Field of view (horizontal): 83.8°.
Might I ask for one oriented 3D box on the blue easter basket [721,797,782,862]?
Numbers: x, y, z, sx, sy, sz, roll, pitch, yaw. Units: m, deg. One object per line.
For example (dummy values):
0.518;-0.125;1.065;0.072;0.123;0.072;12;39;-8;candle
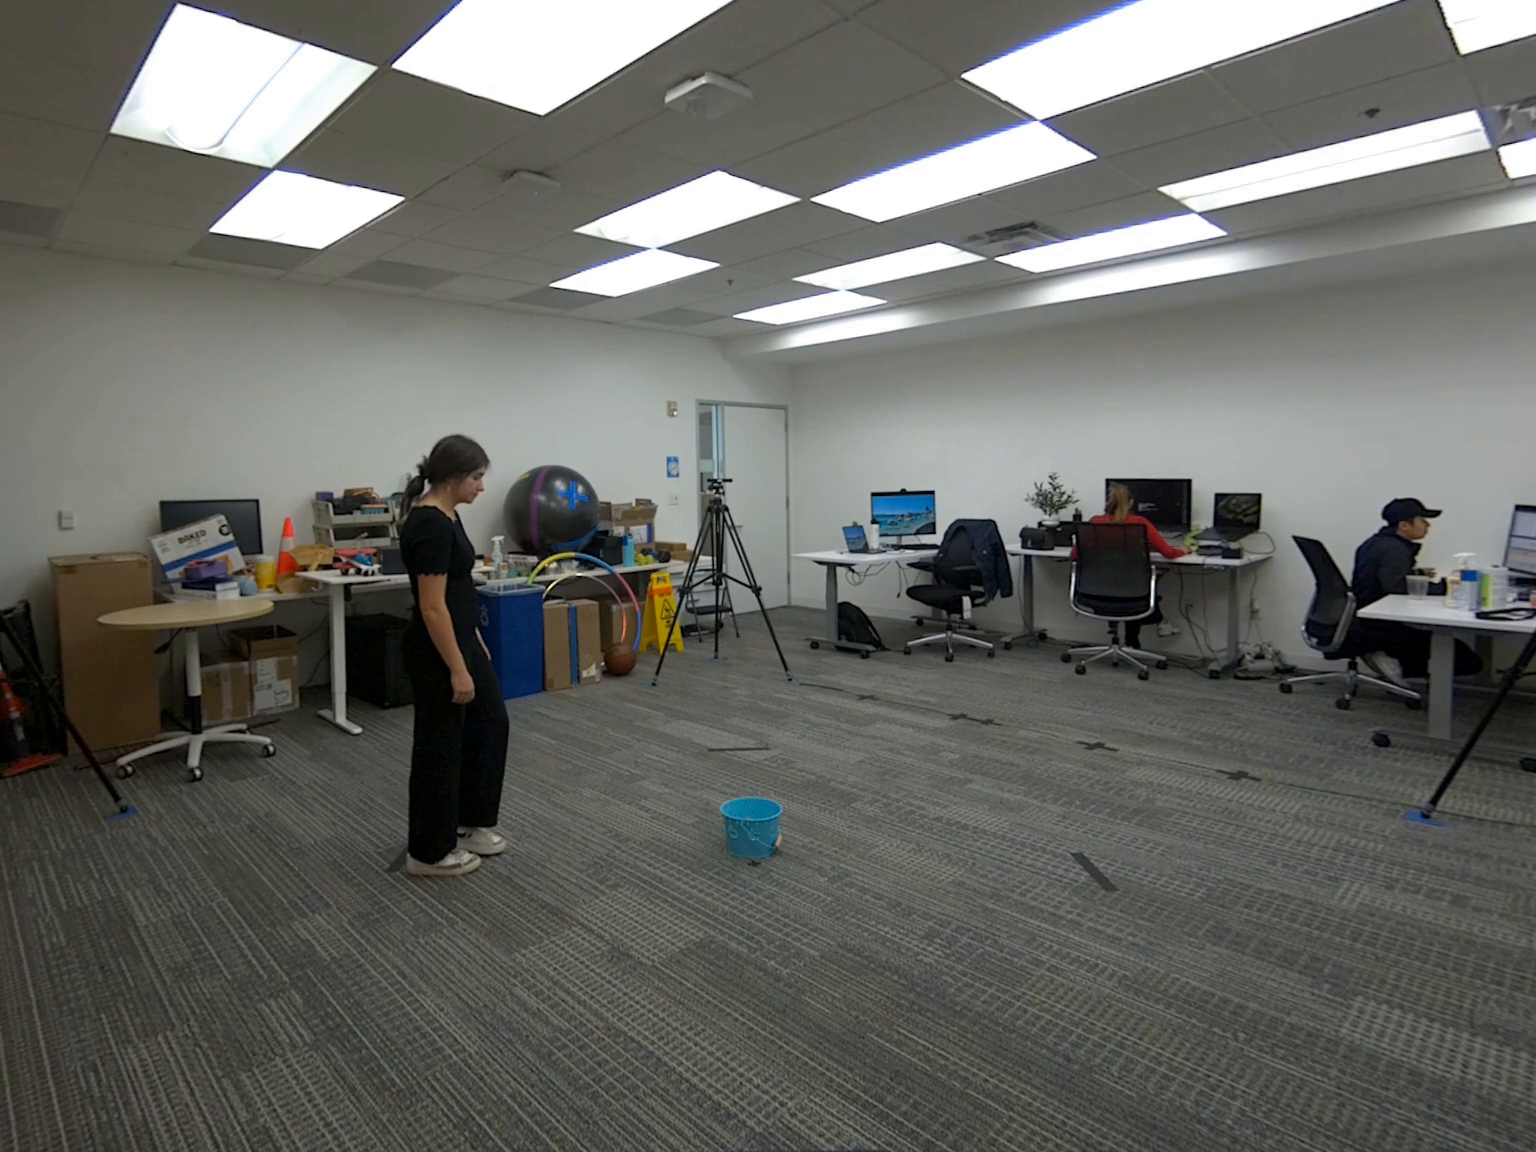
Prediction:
-0.061;0.949;3.229;0.243;0.155;0.245;0;5;-2;blue easter basket
